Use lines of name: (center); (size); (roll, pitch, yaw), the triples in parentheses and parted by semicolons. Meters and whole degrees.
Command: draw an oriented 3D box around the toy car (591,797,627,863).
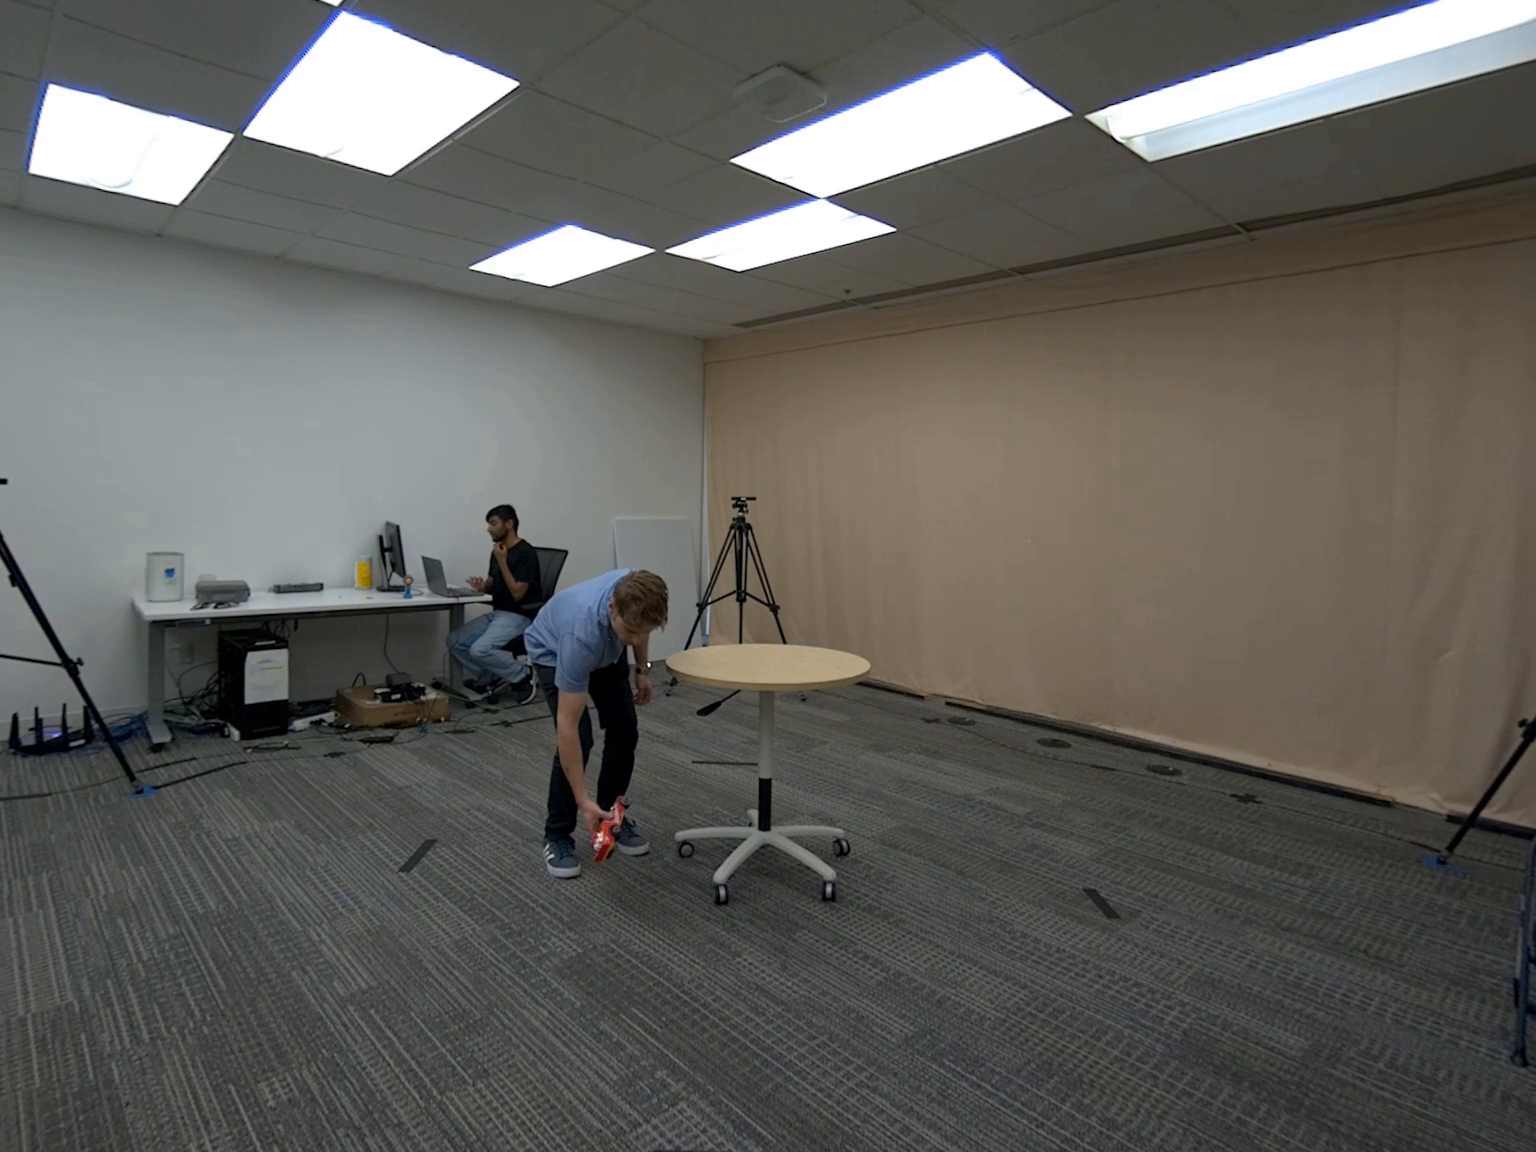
toy car: (-0.539, 0.871, 2.839); (0.083, 0.129, 0.255); (29, 22, 2)
